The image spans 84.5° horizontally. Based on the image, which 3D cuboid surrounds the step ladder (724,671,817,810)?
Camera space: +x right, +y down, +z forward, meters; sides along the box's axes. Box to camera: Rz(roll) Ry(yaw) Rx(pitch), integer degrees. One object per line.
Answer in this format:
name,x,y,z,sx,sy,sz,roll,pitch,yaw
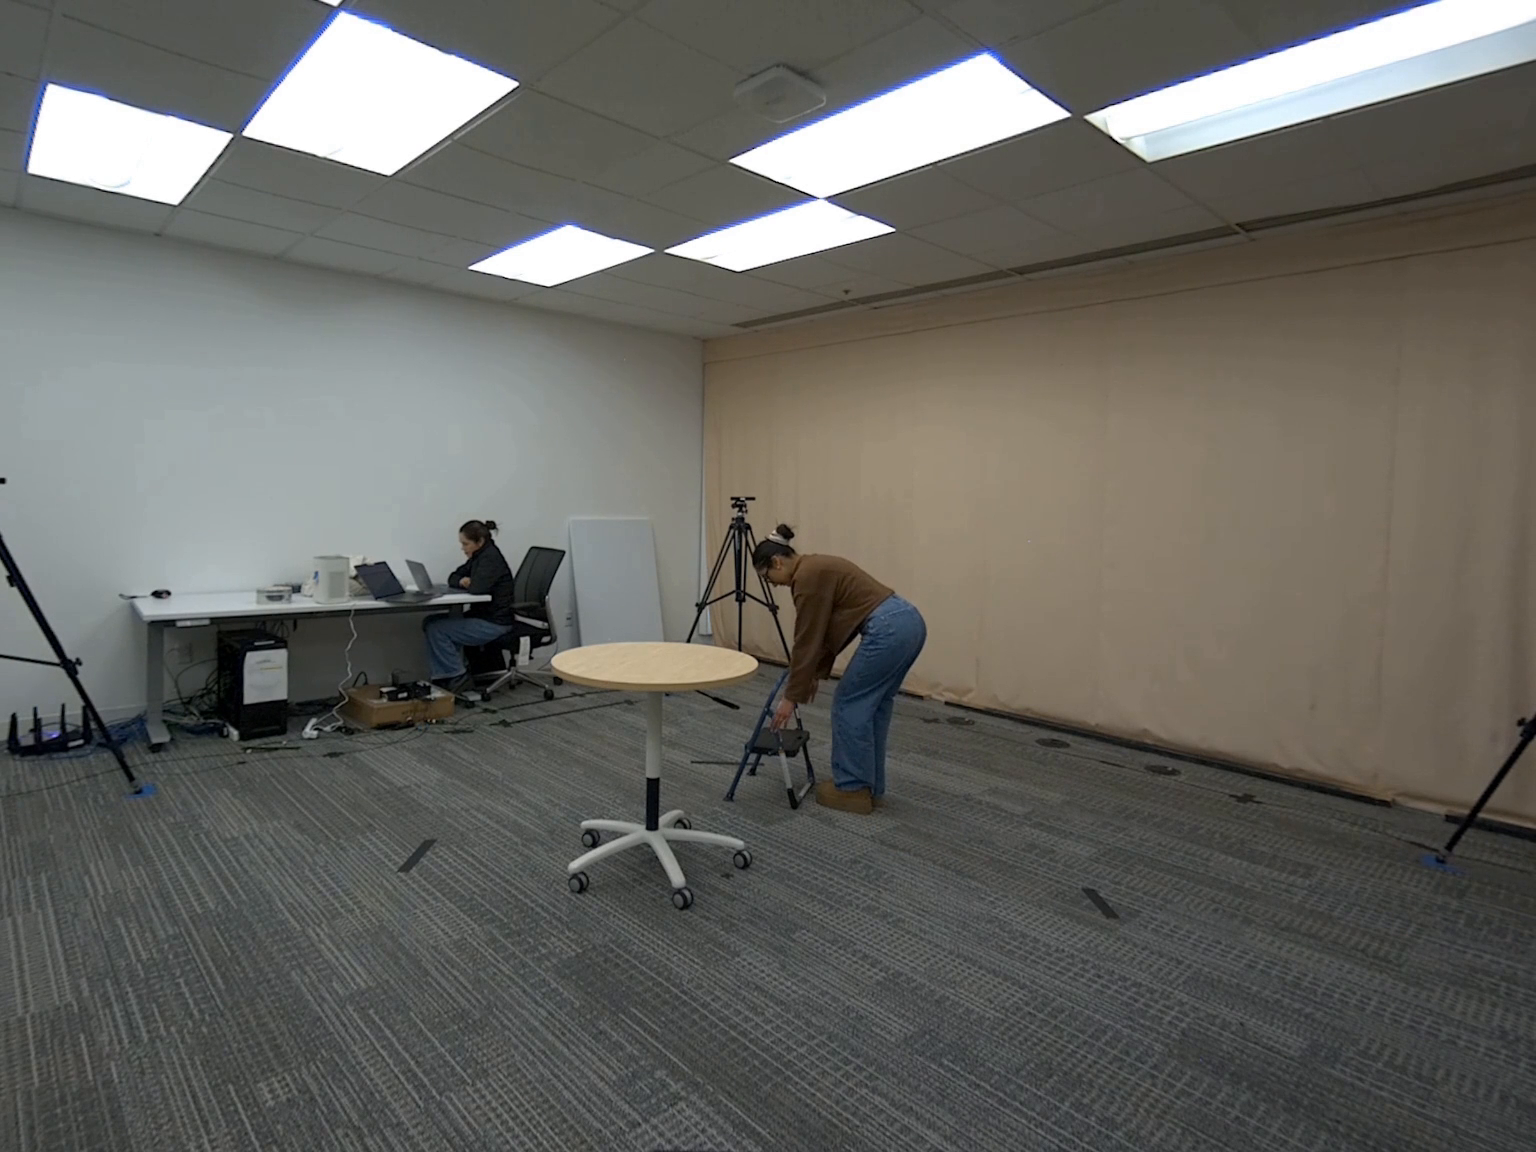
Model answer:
step ladder,0.019,0.728,4.021,0.354,0.605,0.426,2,4,15
